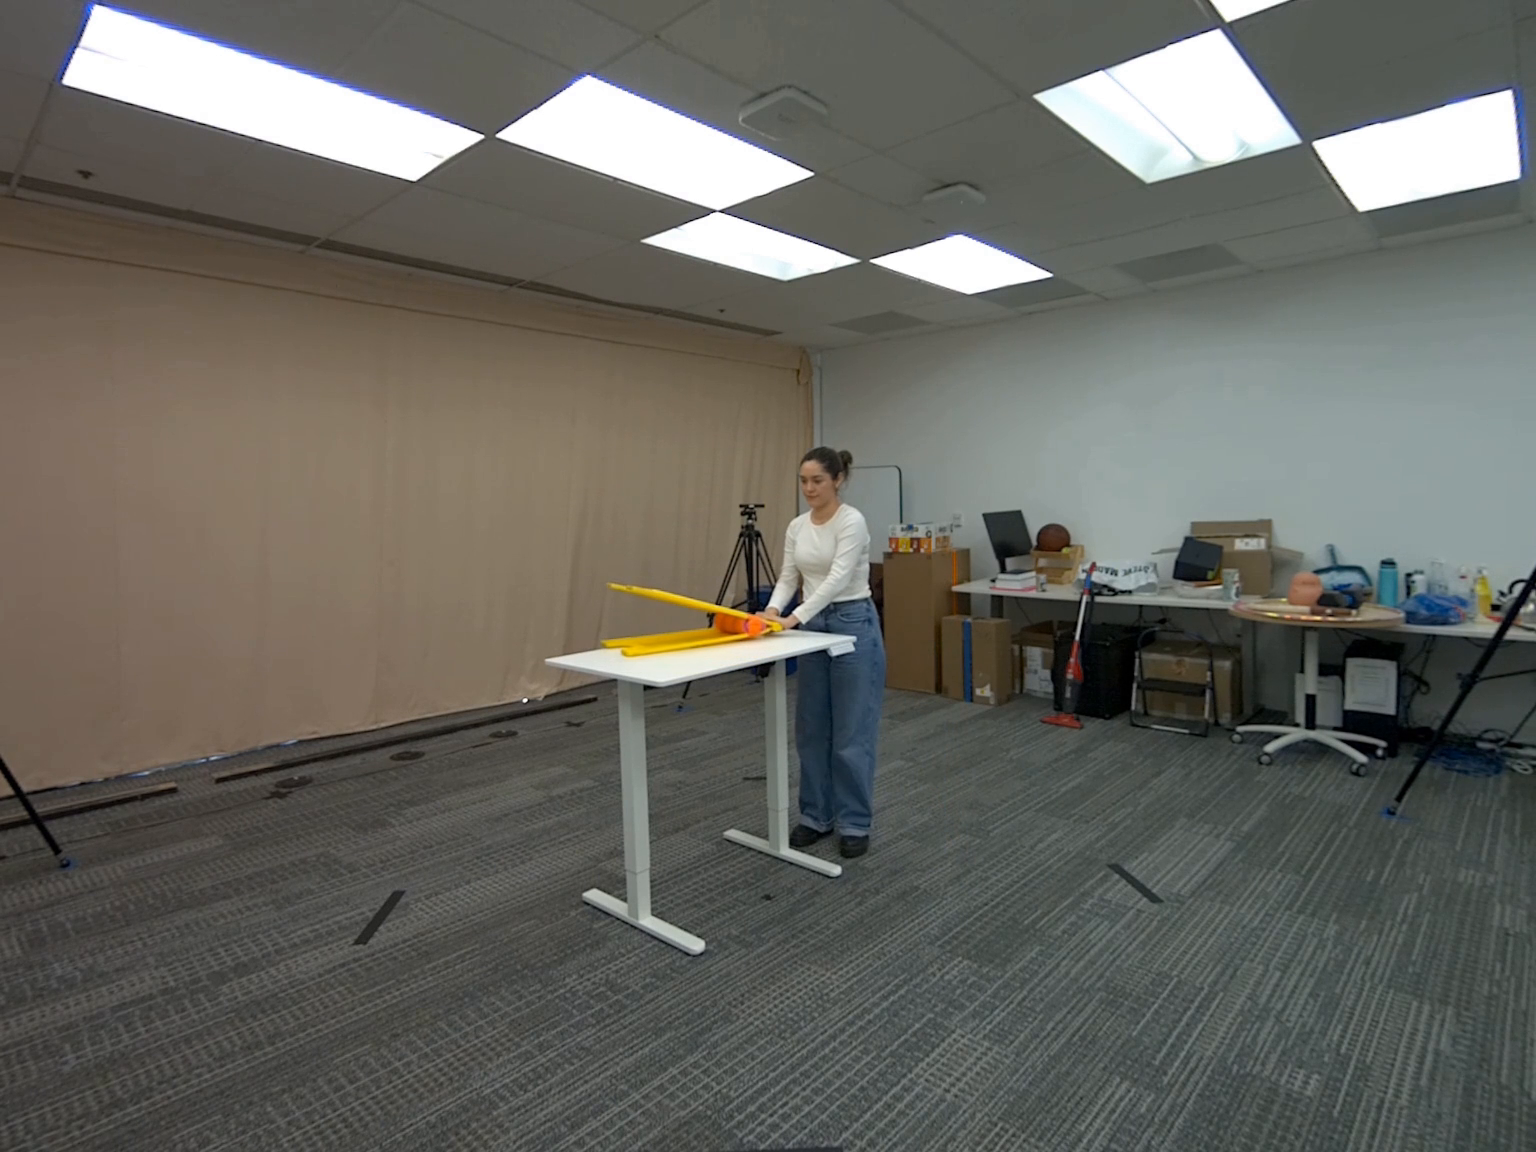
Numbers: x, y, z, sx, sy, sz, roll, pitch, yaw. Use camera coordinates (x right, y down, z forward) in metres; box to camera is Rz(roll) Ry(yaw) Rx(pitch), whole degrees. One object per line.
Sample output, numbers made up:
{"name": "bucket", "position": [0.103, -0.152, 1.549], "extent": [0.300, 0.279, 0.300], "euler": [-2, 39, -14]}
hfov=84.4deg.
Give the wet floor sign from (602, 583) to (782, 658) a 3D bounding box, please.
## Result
{"name": "wet floor sign", "position": [-0.251, 0.183, 3.144], "extent": [0.628, 0.290, 0.290], "euler": [4, 0, -29]}
